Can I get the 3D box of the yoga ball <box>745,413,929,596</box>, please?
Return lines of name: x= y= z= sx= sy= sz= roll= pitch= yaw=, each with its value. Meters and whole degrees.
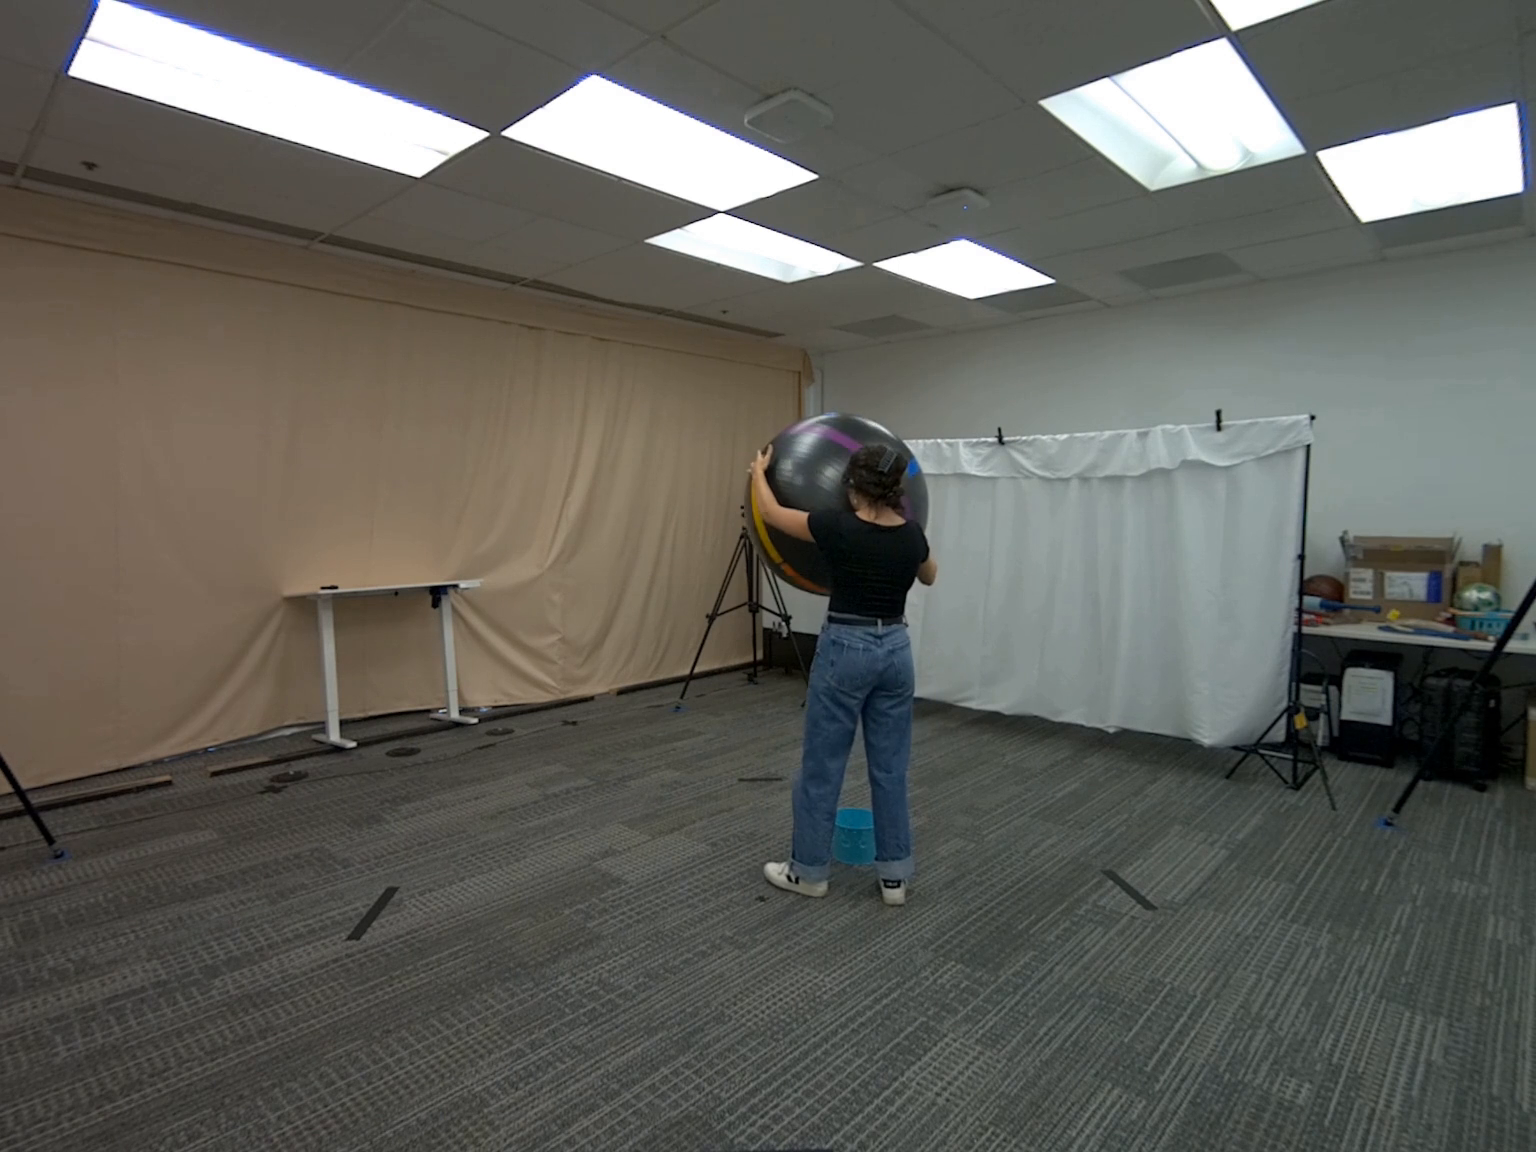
yoga ball: x=0.277 y=-0.284 z=3.505 sx=0.757 sy=0.756 sz=0.760 roll=0 pitch=4 yaw=-2
